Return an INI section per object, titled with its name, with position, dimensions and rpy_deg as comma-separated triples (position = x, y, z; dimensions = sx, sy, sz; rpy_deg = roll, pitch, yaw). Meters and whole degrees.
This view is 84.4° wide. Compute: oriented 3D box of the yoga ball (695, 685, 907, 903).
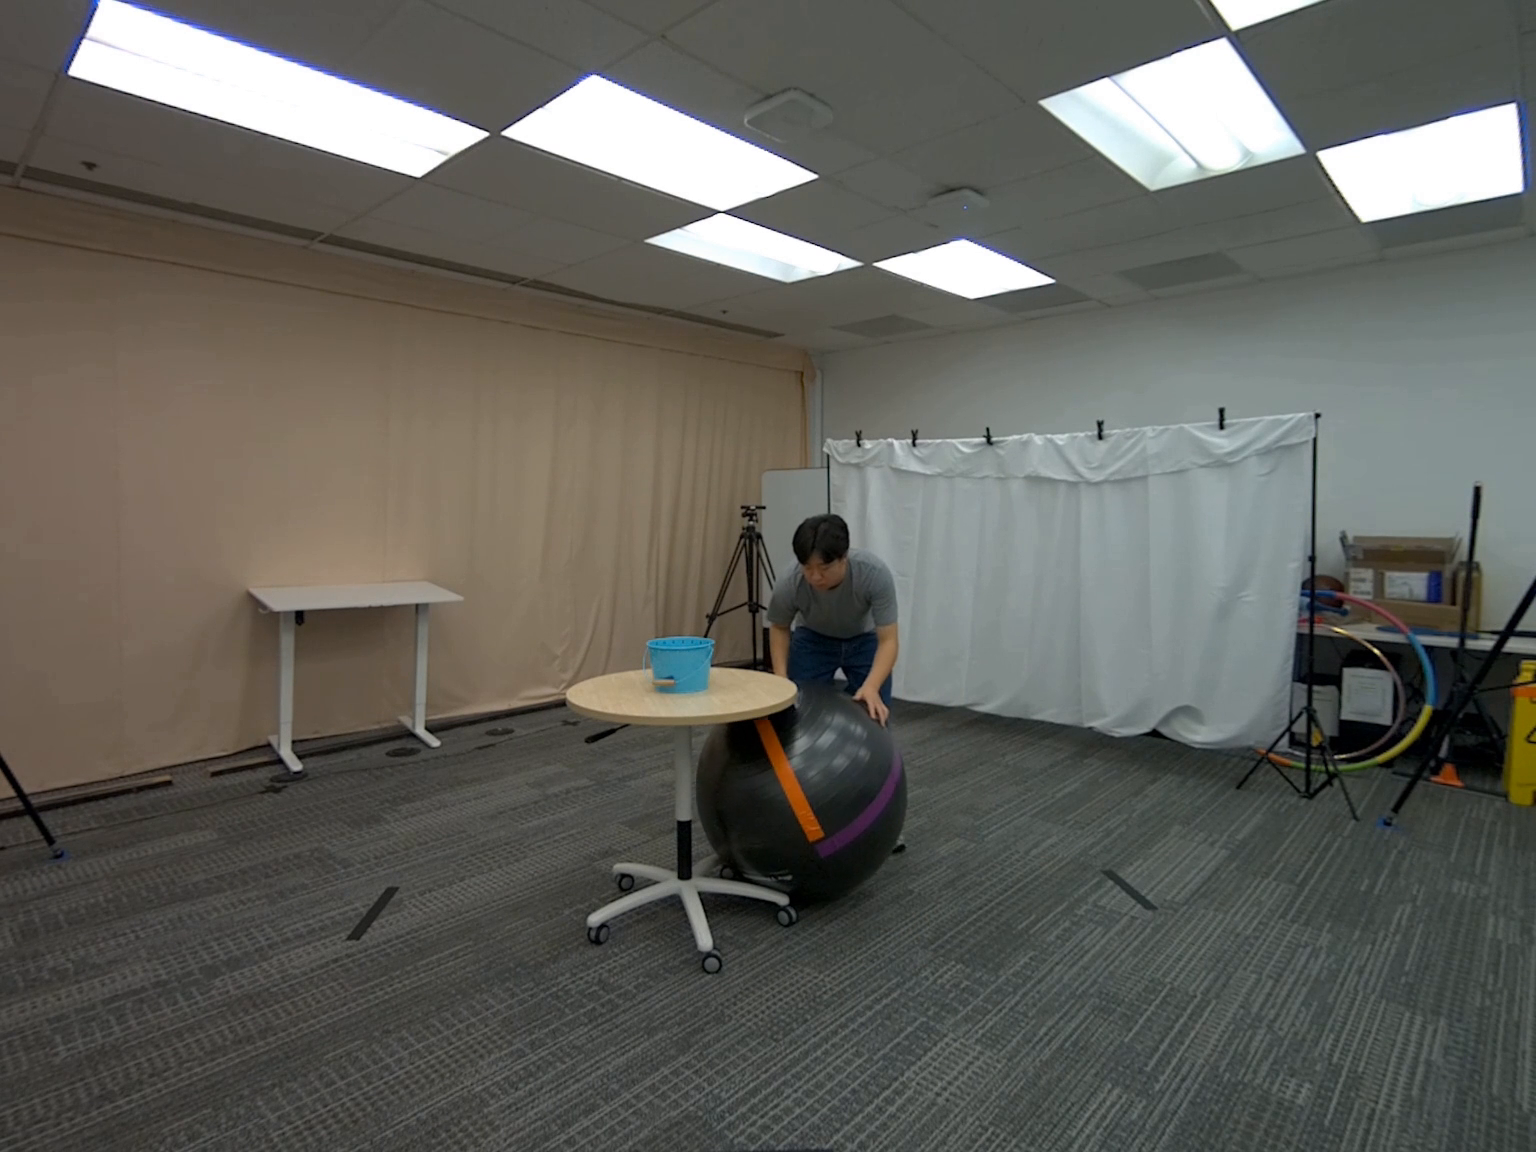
[yoga ball]
position = 0.138, 0.767, 3.044
dimensions = 0.757, 0.756, 0.760
rpy_deg = 0, 4, -2
